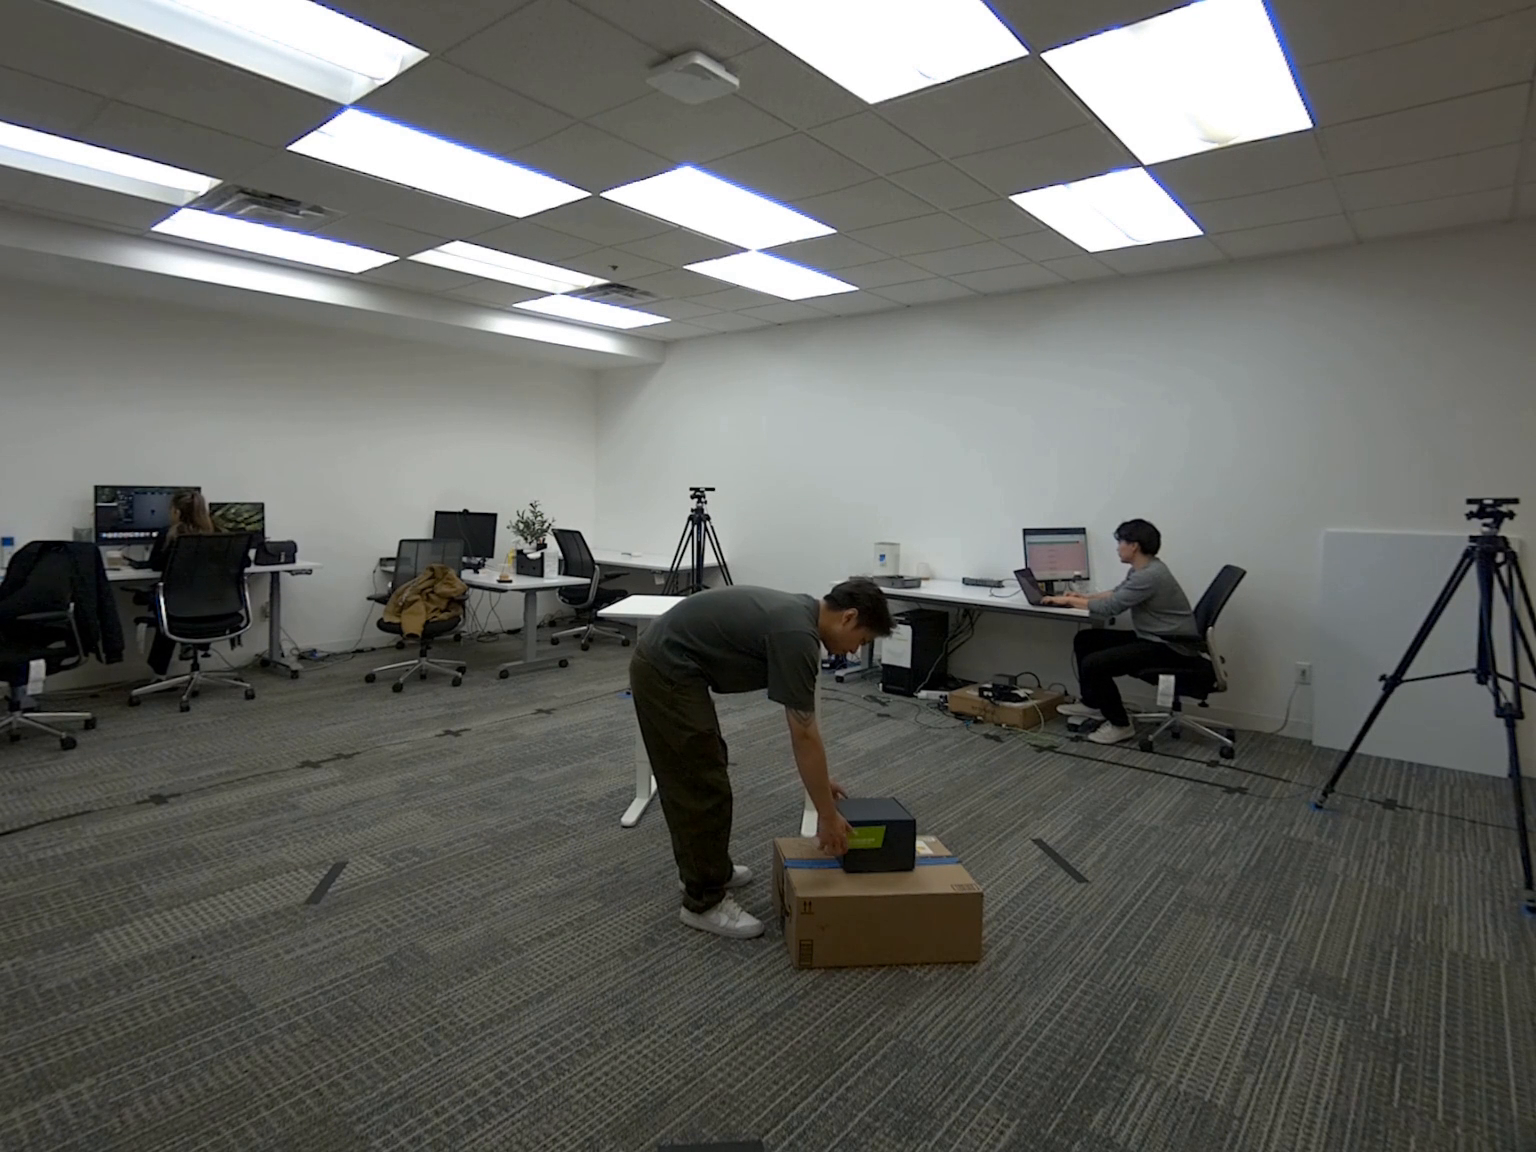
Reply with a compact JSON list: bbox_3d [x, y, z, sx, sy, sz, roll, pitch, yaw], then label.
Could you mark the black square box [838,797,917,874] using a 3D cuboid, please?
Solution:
[{"bbox_3d":[0.331,0.822,2.721,0.226,0.155,0.219,3,3,-9],"label":"black square box"}]
